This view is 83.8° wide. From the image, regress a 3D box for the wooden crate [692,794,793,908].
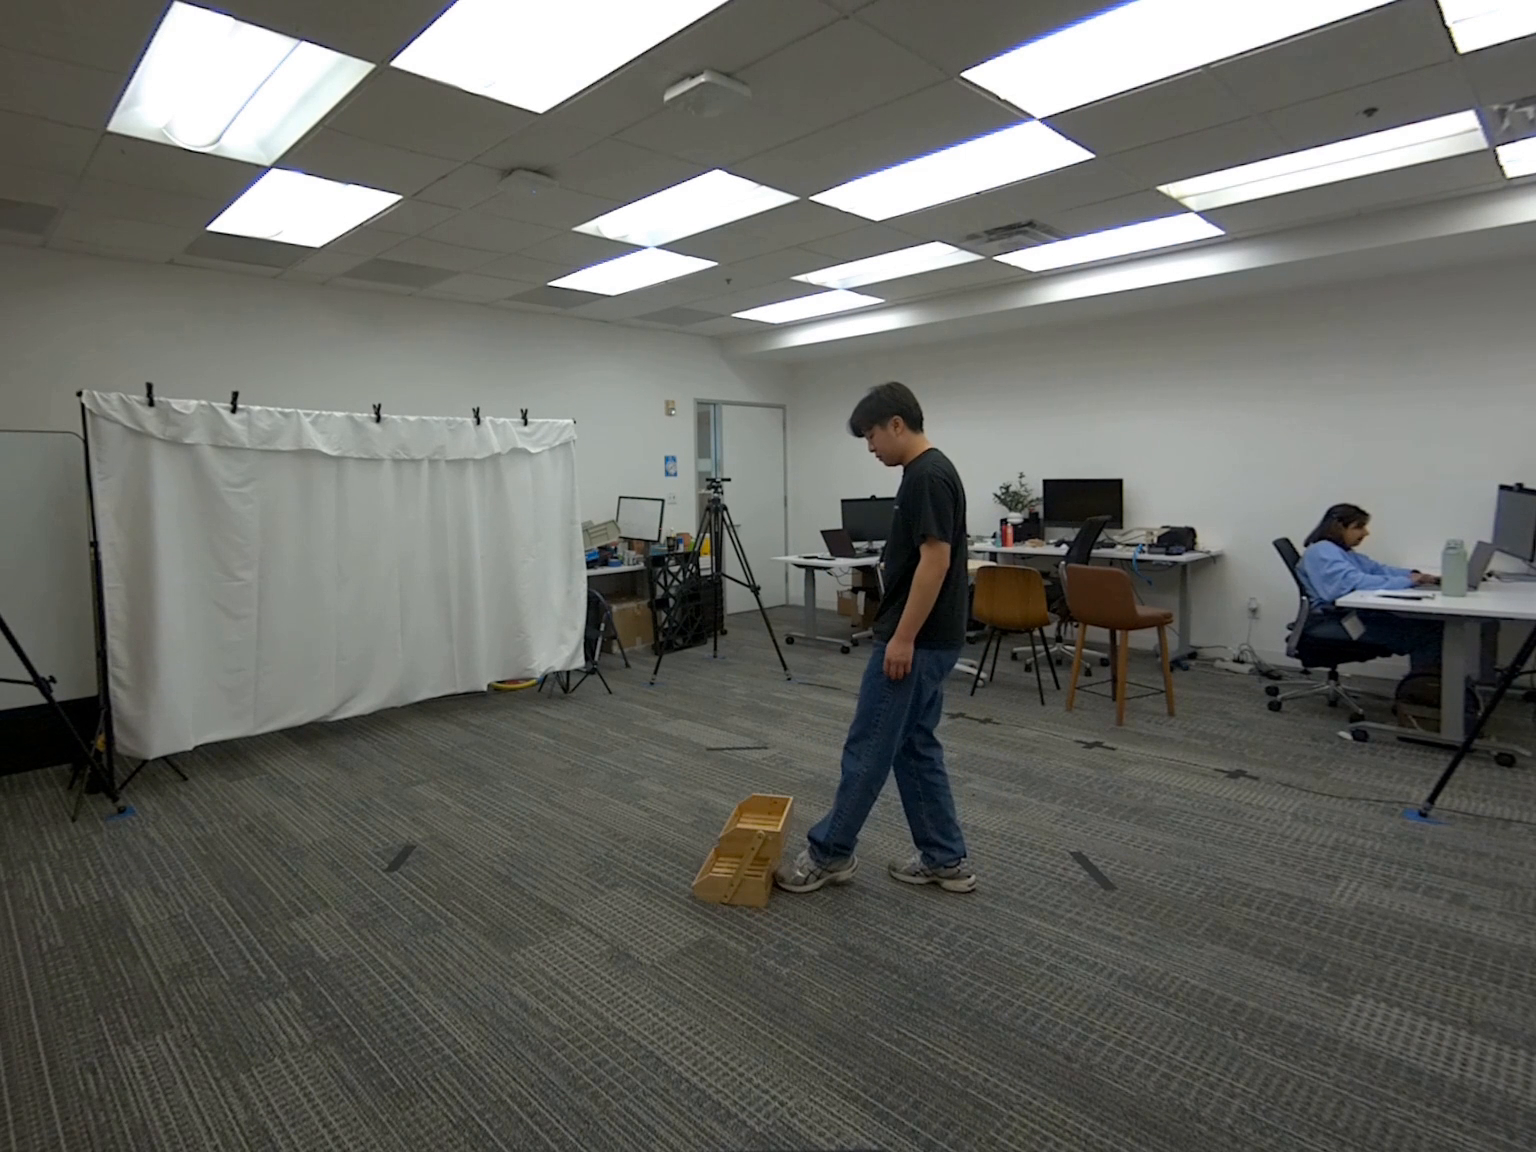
[{"bbox_3d":[-0.066,0.929,2.933,0.306,0.272,0.322,0,5,12],"label":"wooden crate"}]
